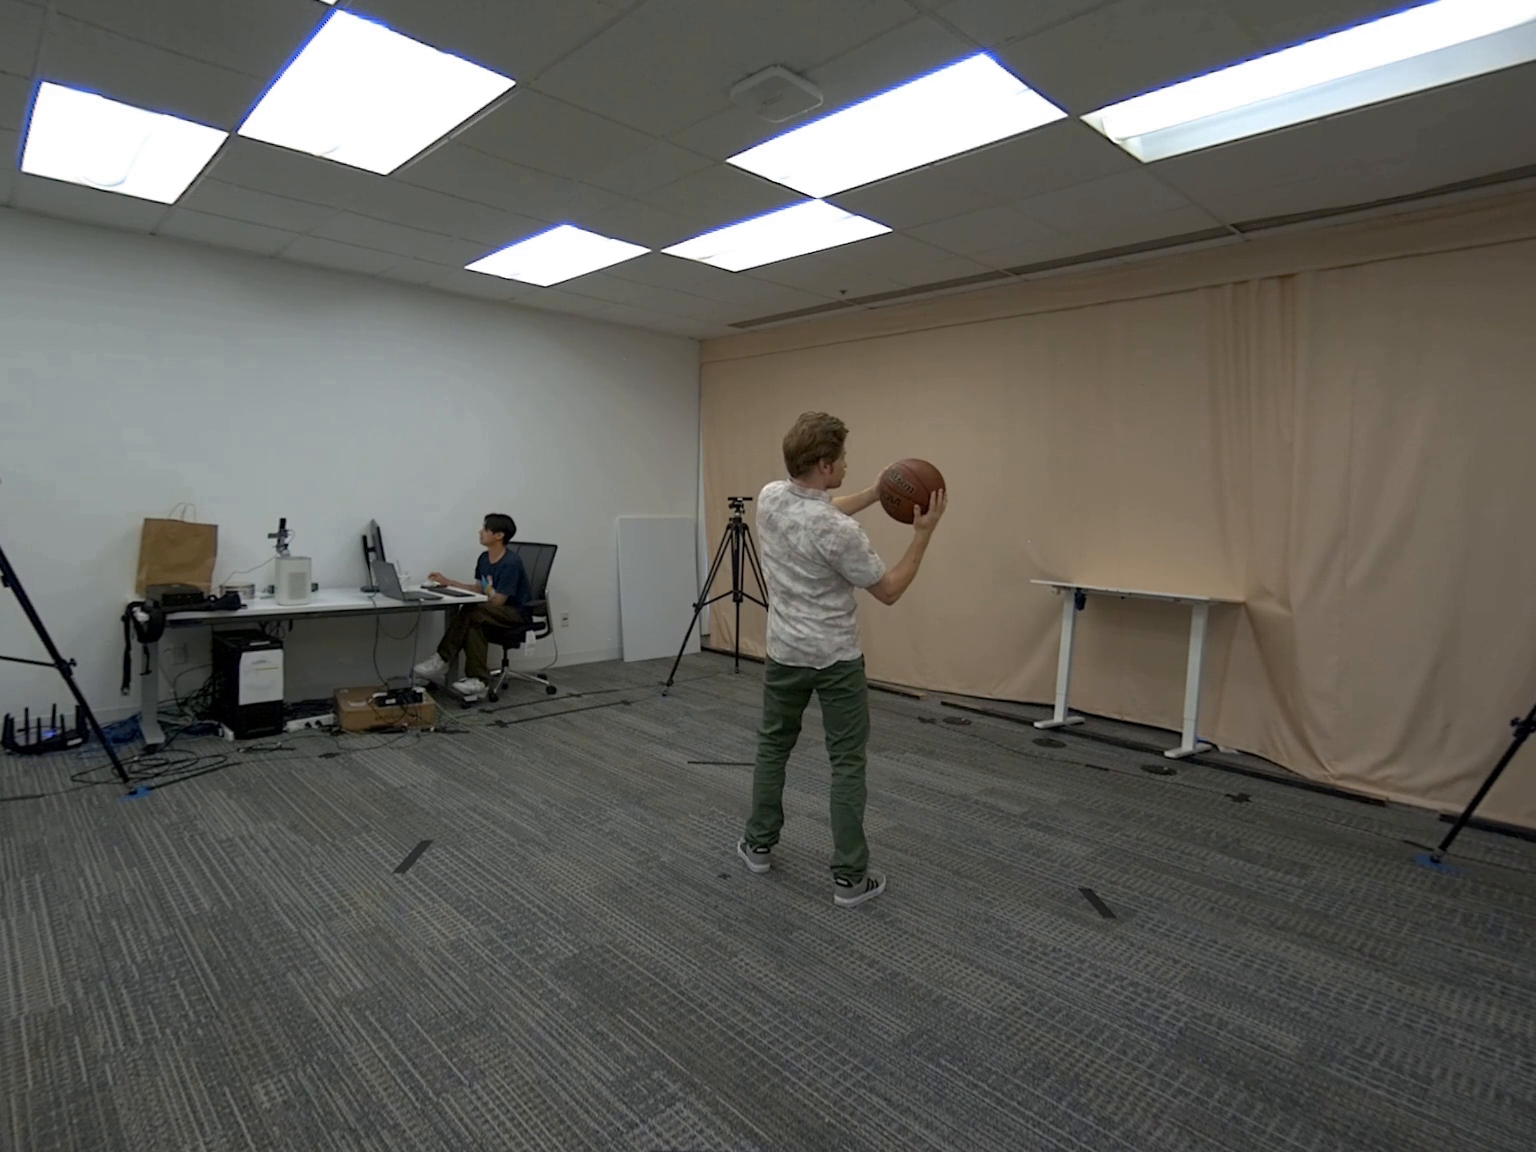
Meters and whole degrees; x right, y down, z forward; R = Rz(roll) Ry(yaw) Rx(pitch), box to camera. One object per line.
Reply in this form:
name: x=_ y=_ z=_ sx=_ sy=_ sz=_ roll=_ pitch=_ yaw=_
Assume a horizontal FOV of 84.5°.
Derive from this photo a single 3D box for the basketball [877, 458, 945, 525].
basketball: x=0.514 y=-0.311 z=3.062 sx=0.236 sy=0.235 sz=0.237 roll=1 pitch=4 yaw=-1
